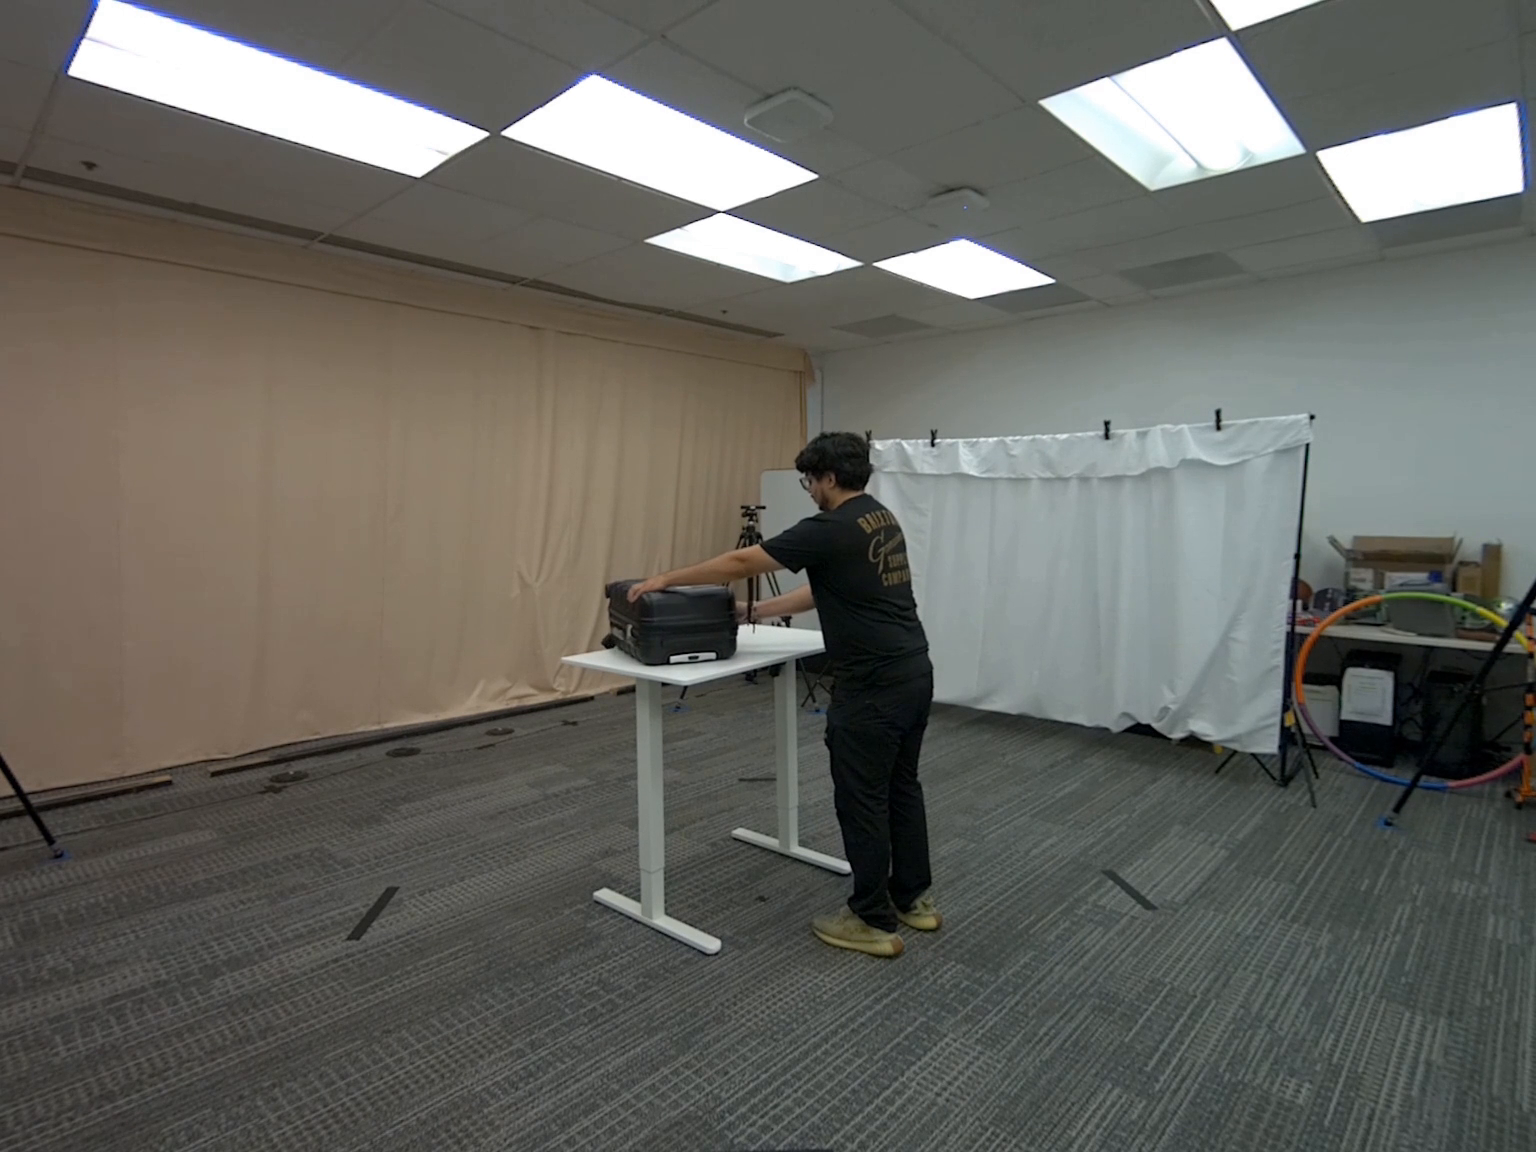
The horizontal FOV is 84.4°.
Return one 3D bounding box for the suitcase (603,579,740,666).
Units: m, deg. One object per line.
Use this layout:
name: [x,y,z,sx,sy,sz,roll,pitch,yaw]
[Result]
suitcase: [-0.338,0.155,2.965,0.367,0.248,0.562,-2,4,-23]
